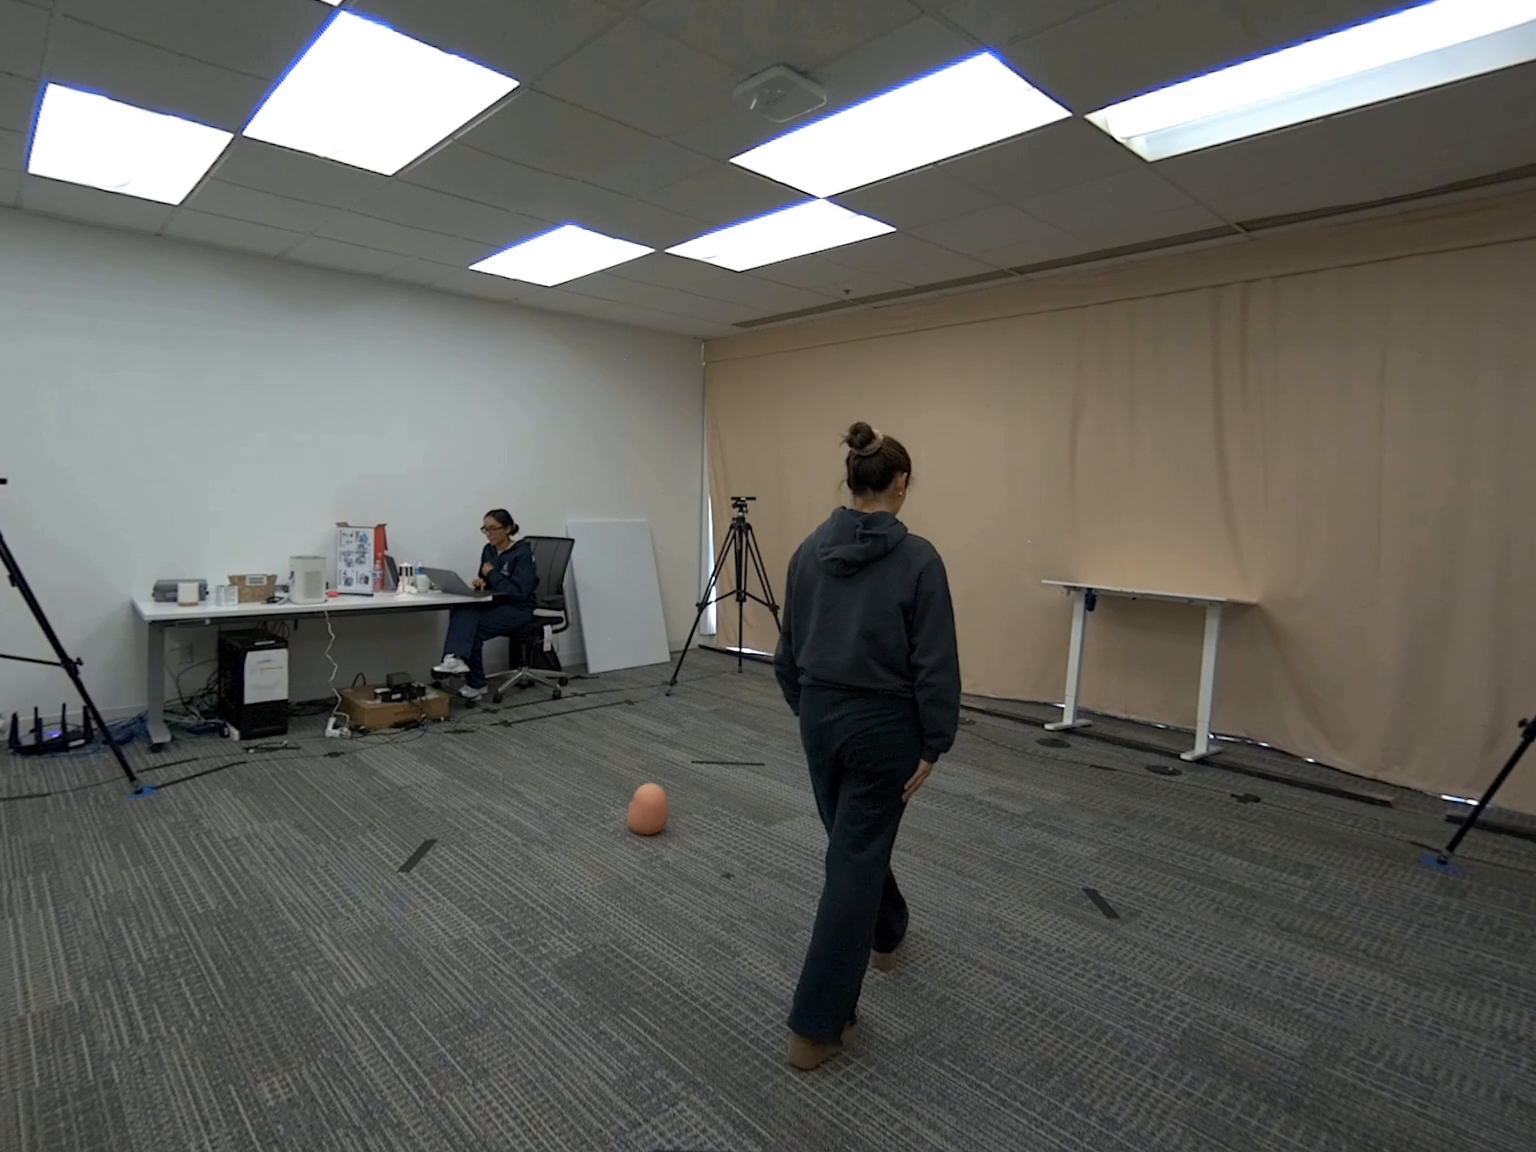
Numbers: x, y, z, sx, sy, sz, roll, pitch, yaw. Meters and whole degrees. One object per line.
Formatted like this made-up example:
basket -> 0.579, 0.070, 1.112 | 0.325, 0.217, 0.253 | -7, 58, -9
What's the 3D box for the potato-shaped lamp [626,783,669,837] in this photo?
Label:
potato-shaped lamp -> -0.511, 0.965, 3.510 | 0.161, 0.198, 0.176 | 1, 4, -38
